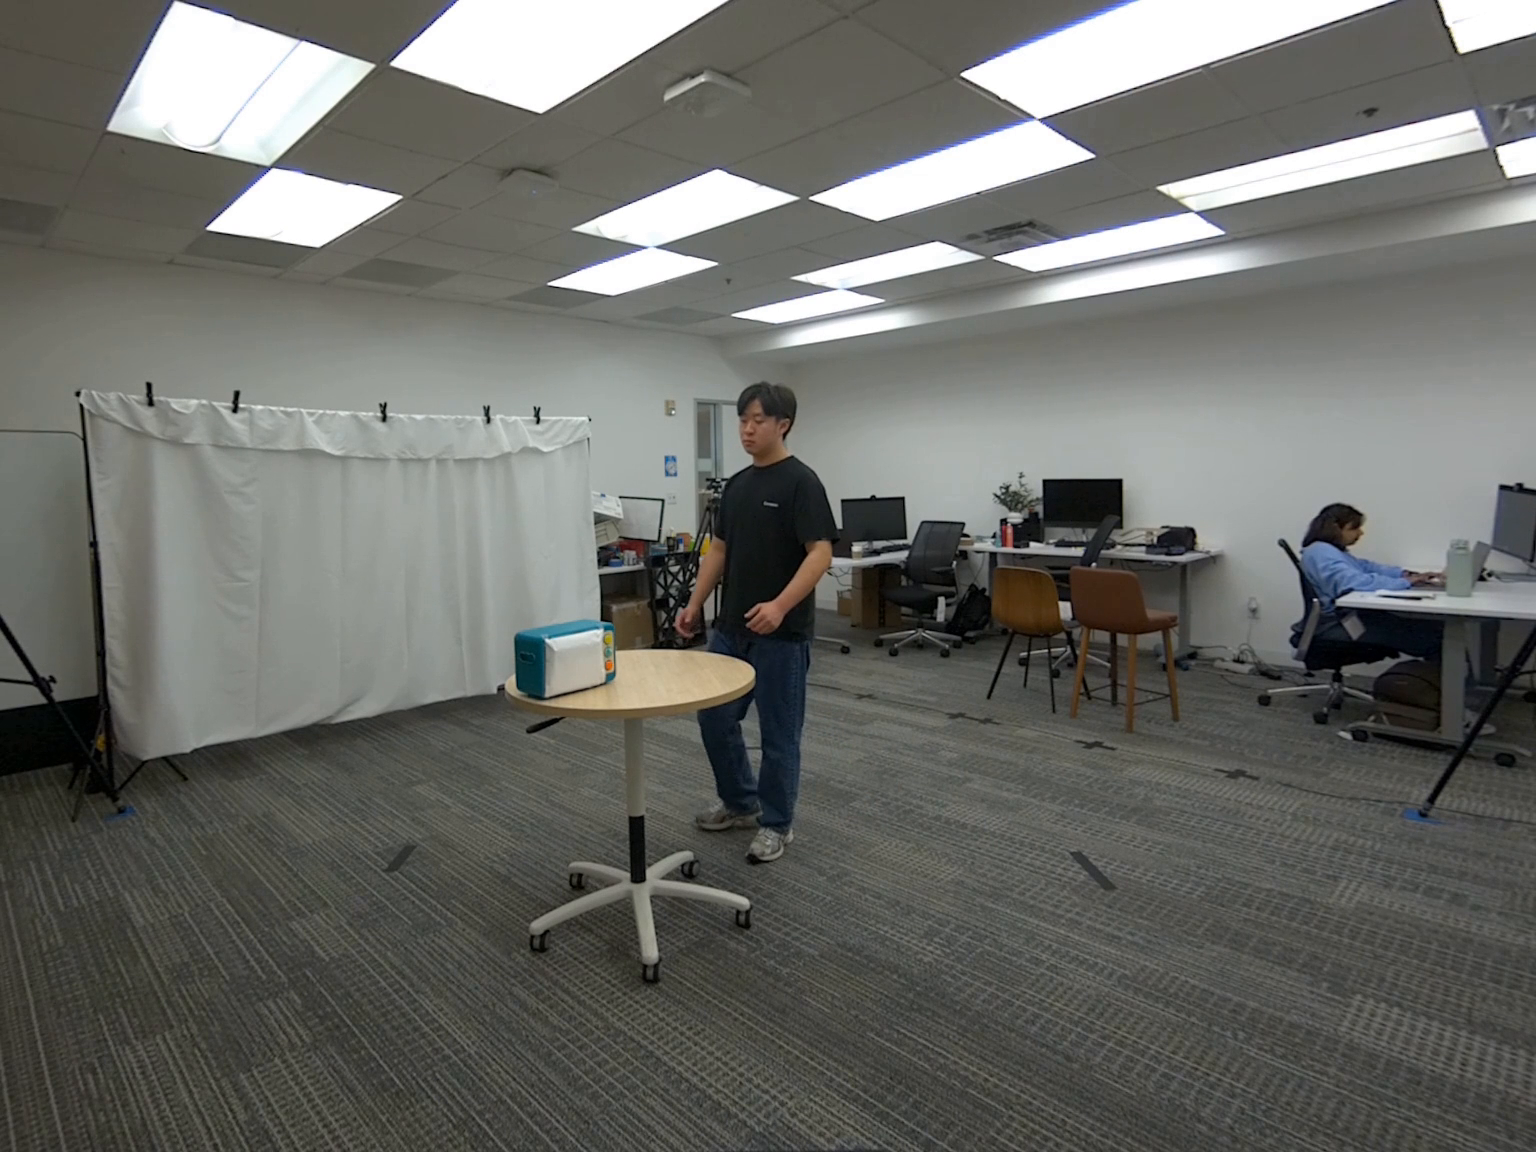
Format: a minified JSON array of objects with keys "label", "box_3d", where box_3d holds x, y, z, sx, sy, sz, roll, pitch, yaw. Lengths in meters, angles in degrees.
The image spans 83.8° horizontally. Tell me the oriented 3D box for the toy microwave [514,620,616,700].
[{"label":"toy microwave","box_3d":[-0.577,0.239,2.483,0.157,0.183,0.279,3,7,39]}]
